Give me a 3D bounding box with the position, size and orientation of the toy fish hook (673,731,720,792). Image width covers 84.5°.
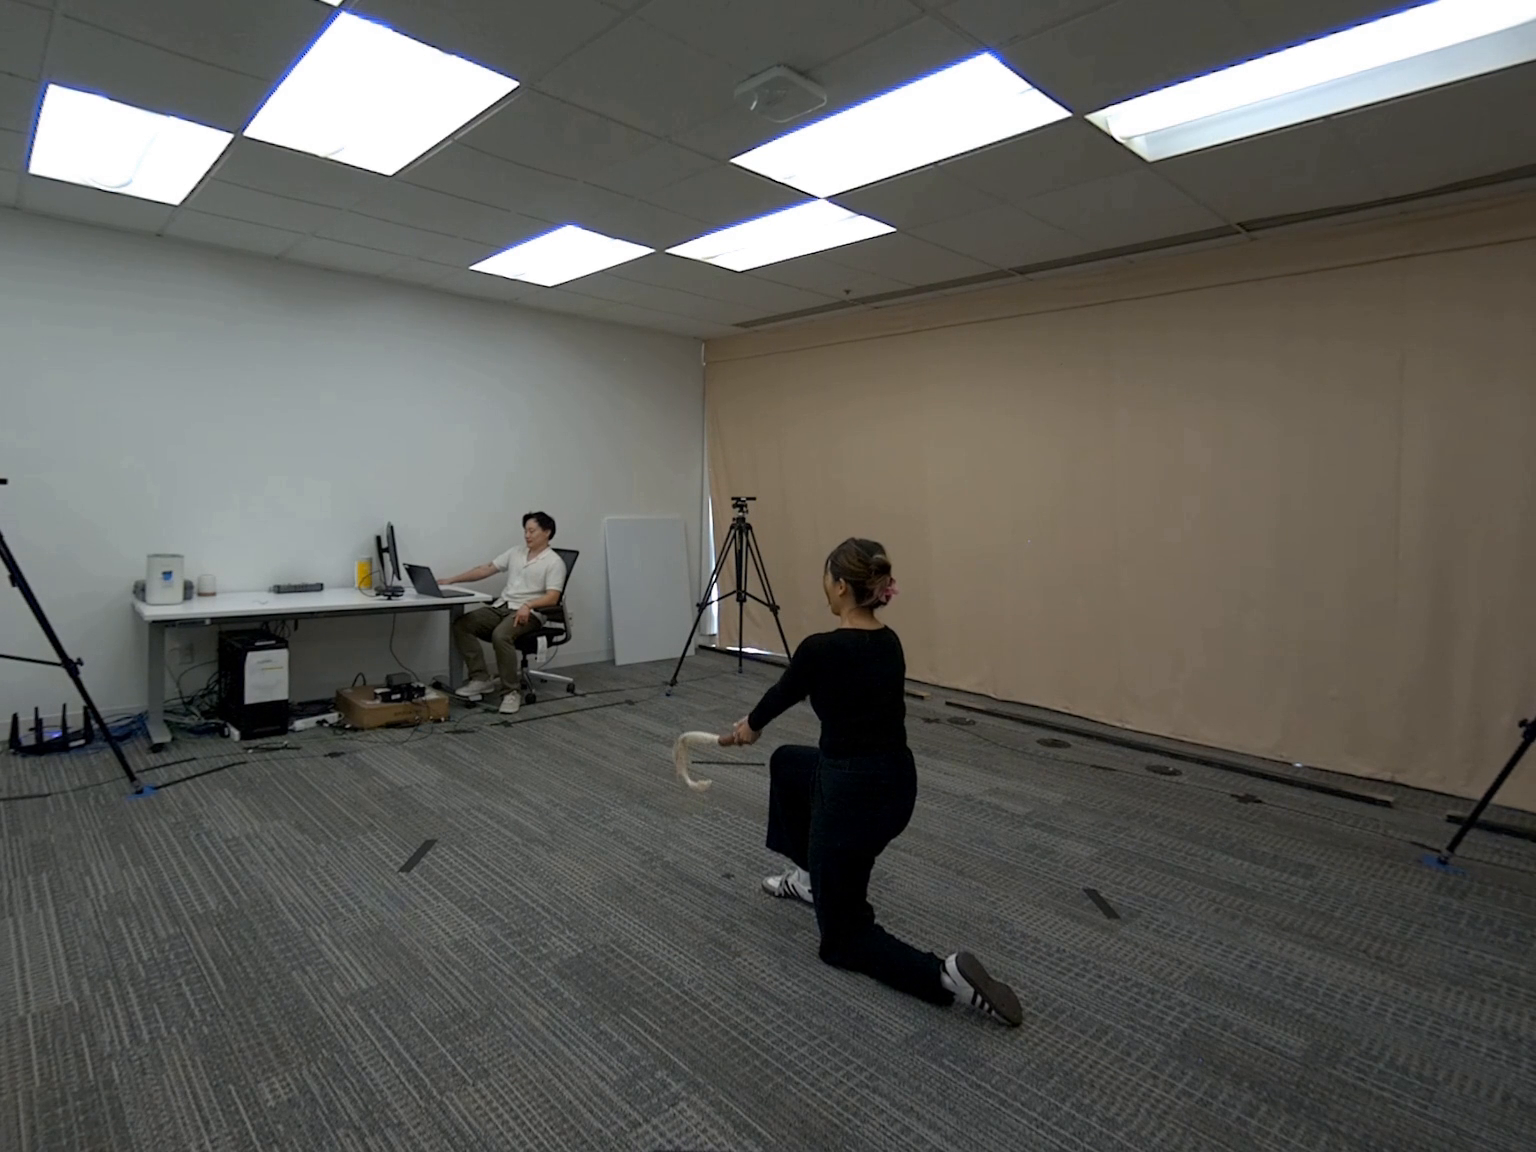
[{"bbox_3d":[-0.205,0.624,3.118,0.047,0.227,0.512,-4,-15,-44],"label":"toy fish hook"}]
